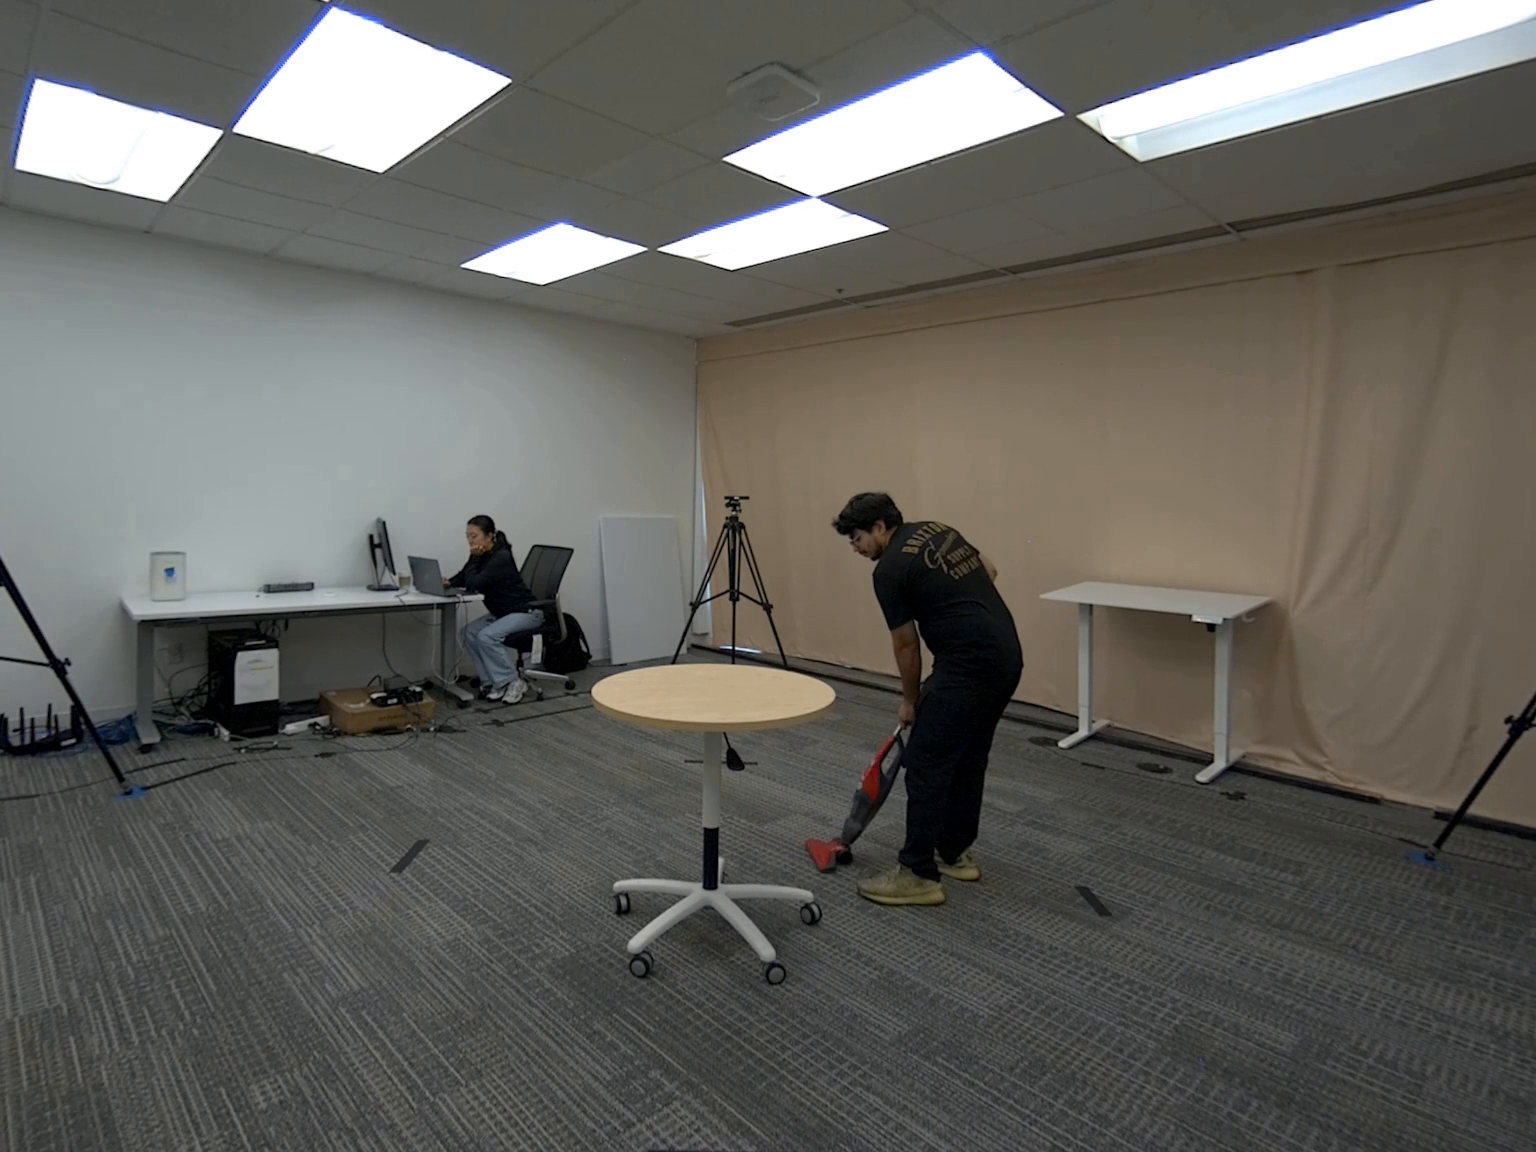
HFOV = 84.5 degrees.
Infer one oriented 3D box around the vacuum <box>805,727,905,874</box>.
[{"bbox_3d":[0.505,0.648,3.289,0.142,1.050,0.255,32,-4,-13],"label":"vacuum"}]
